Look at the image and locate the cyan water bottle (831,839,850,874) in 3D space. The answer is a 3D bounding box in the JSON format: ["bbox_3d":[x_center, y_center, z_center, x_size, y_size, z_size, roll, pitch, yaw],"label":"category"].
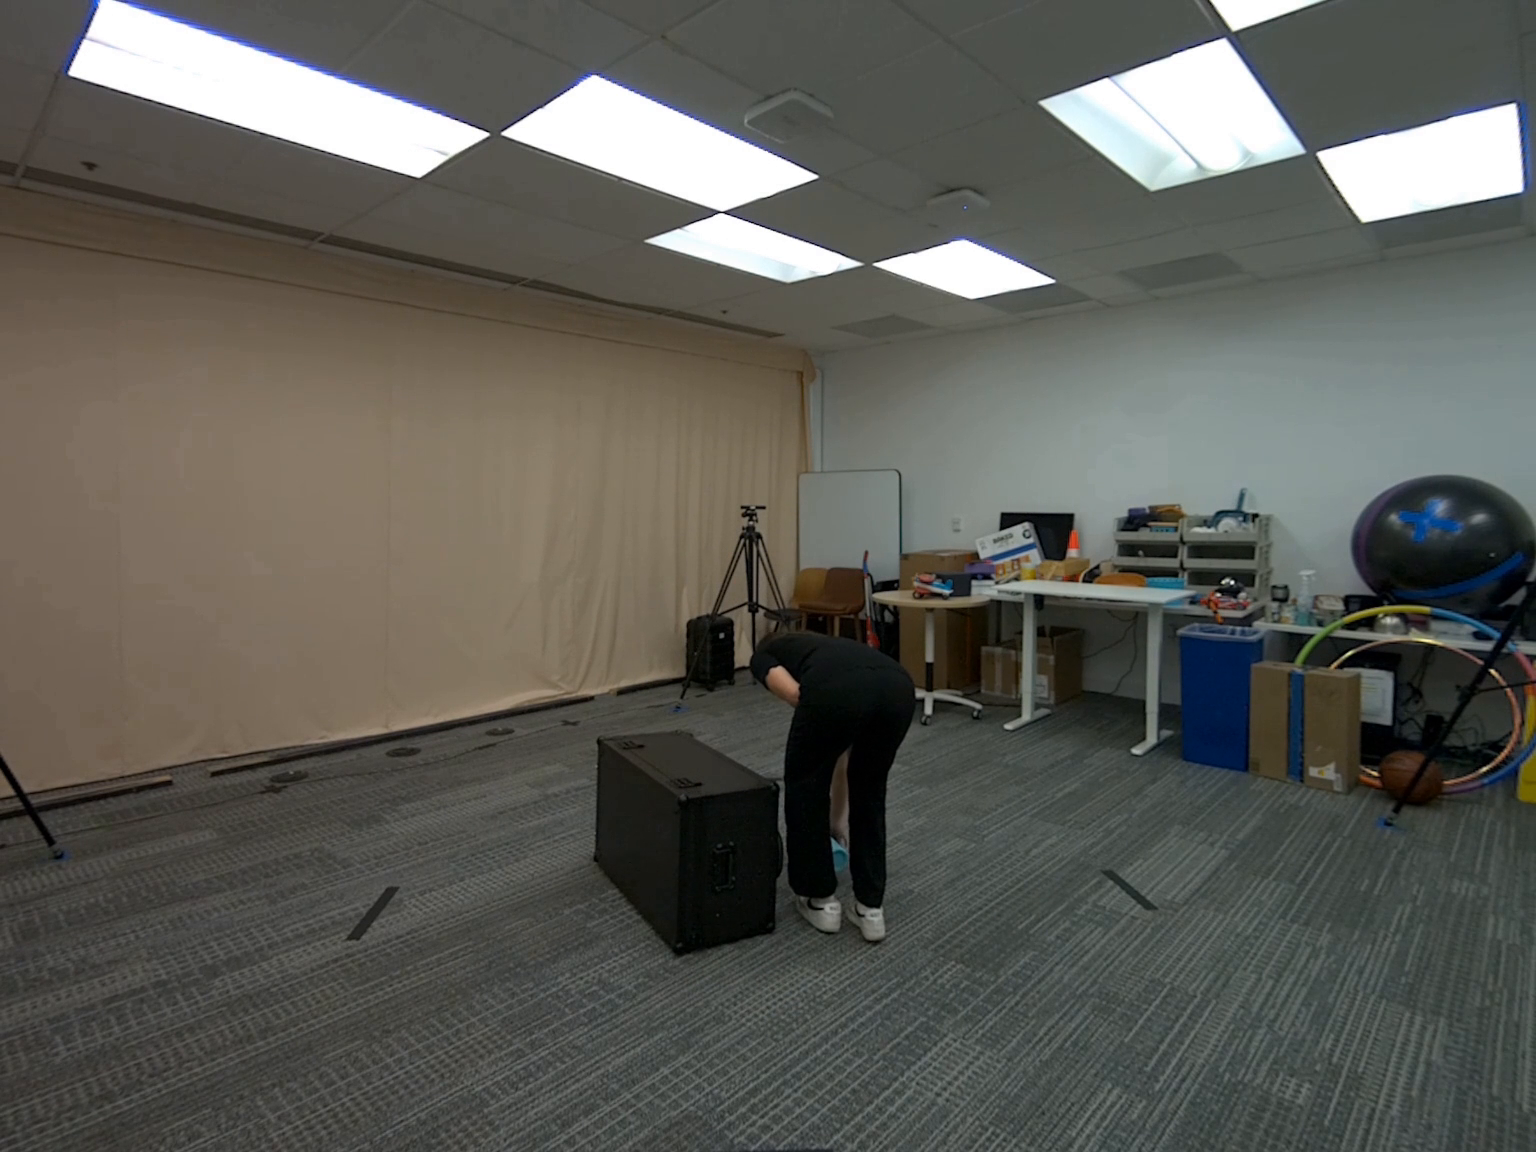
[{"bbox_3d":[0.211,1.023,3.184,0.091,0.092,0.289,-1,9,-17],"label":"cyan water bottle"}]
